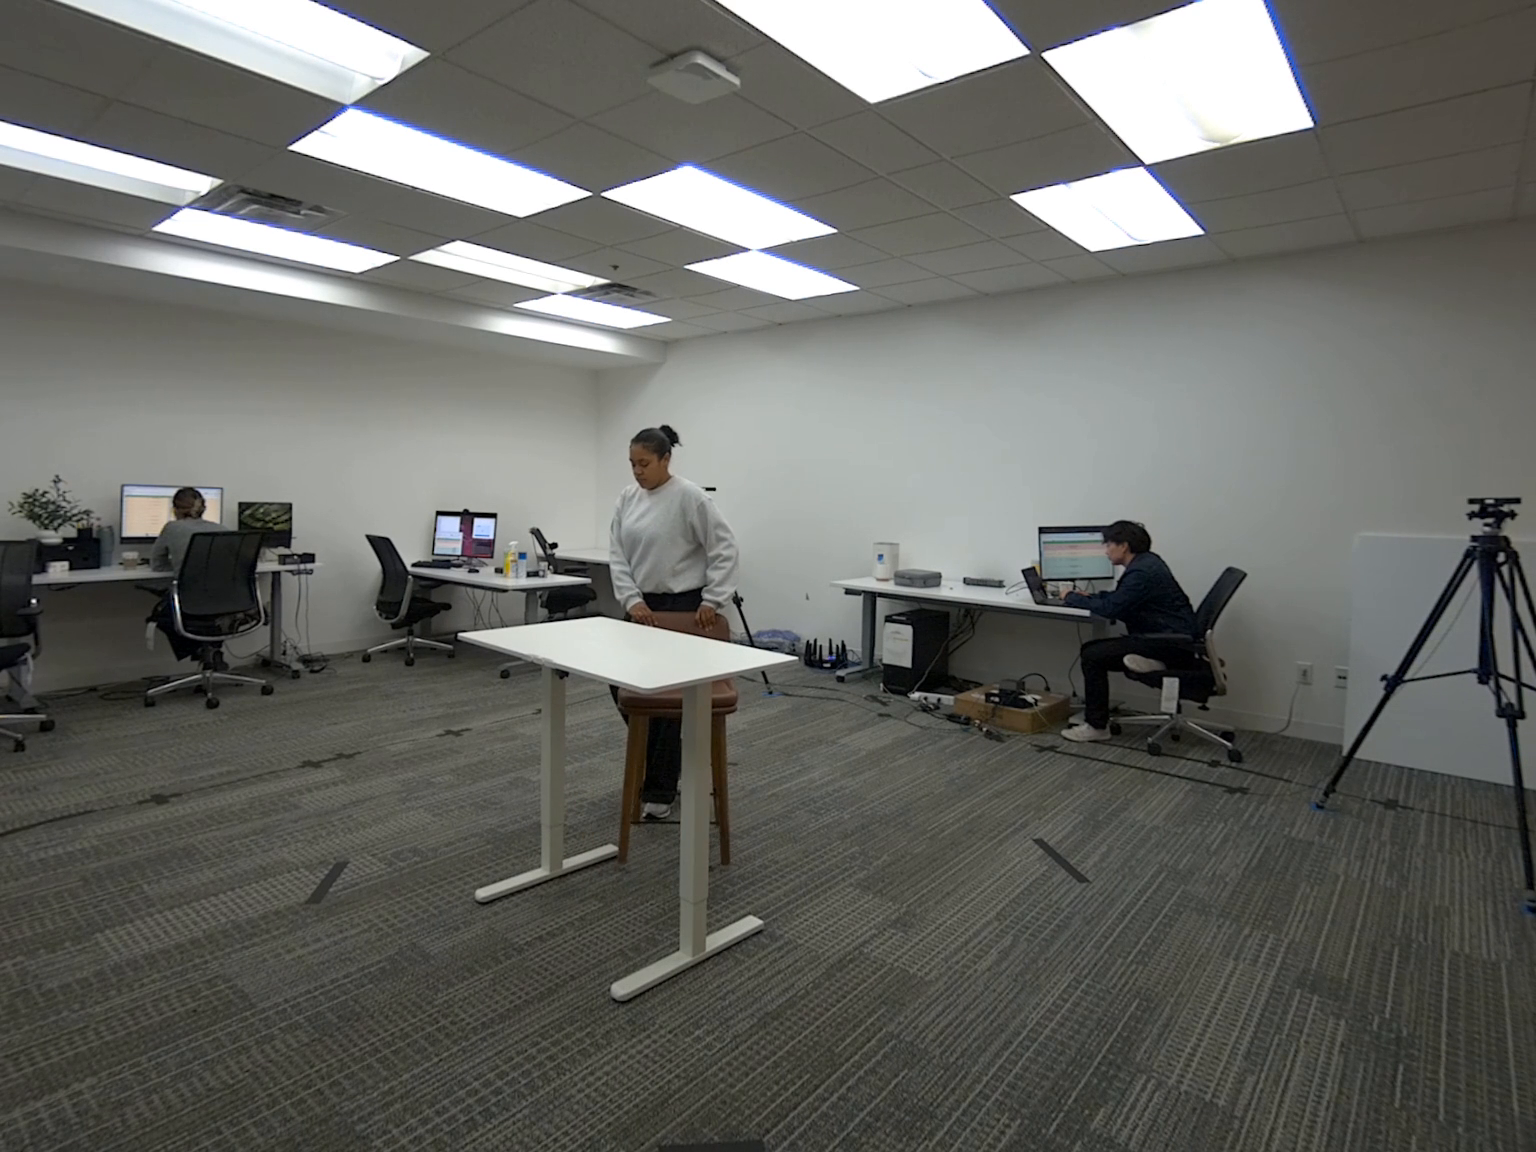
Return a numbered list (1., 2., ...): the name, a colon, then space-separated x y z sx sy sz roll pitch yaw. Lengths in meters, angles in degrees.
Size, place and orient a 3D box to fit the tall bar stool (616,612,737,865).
1. tall bar stool: -0.362 0.599 3.320 0.456 0.892 0.467 0 -2 -2
